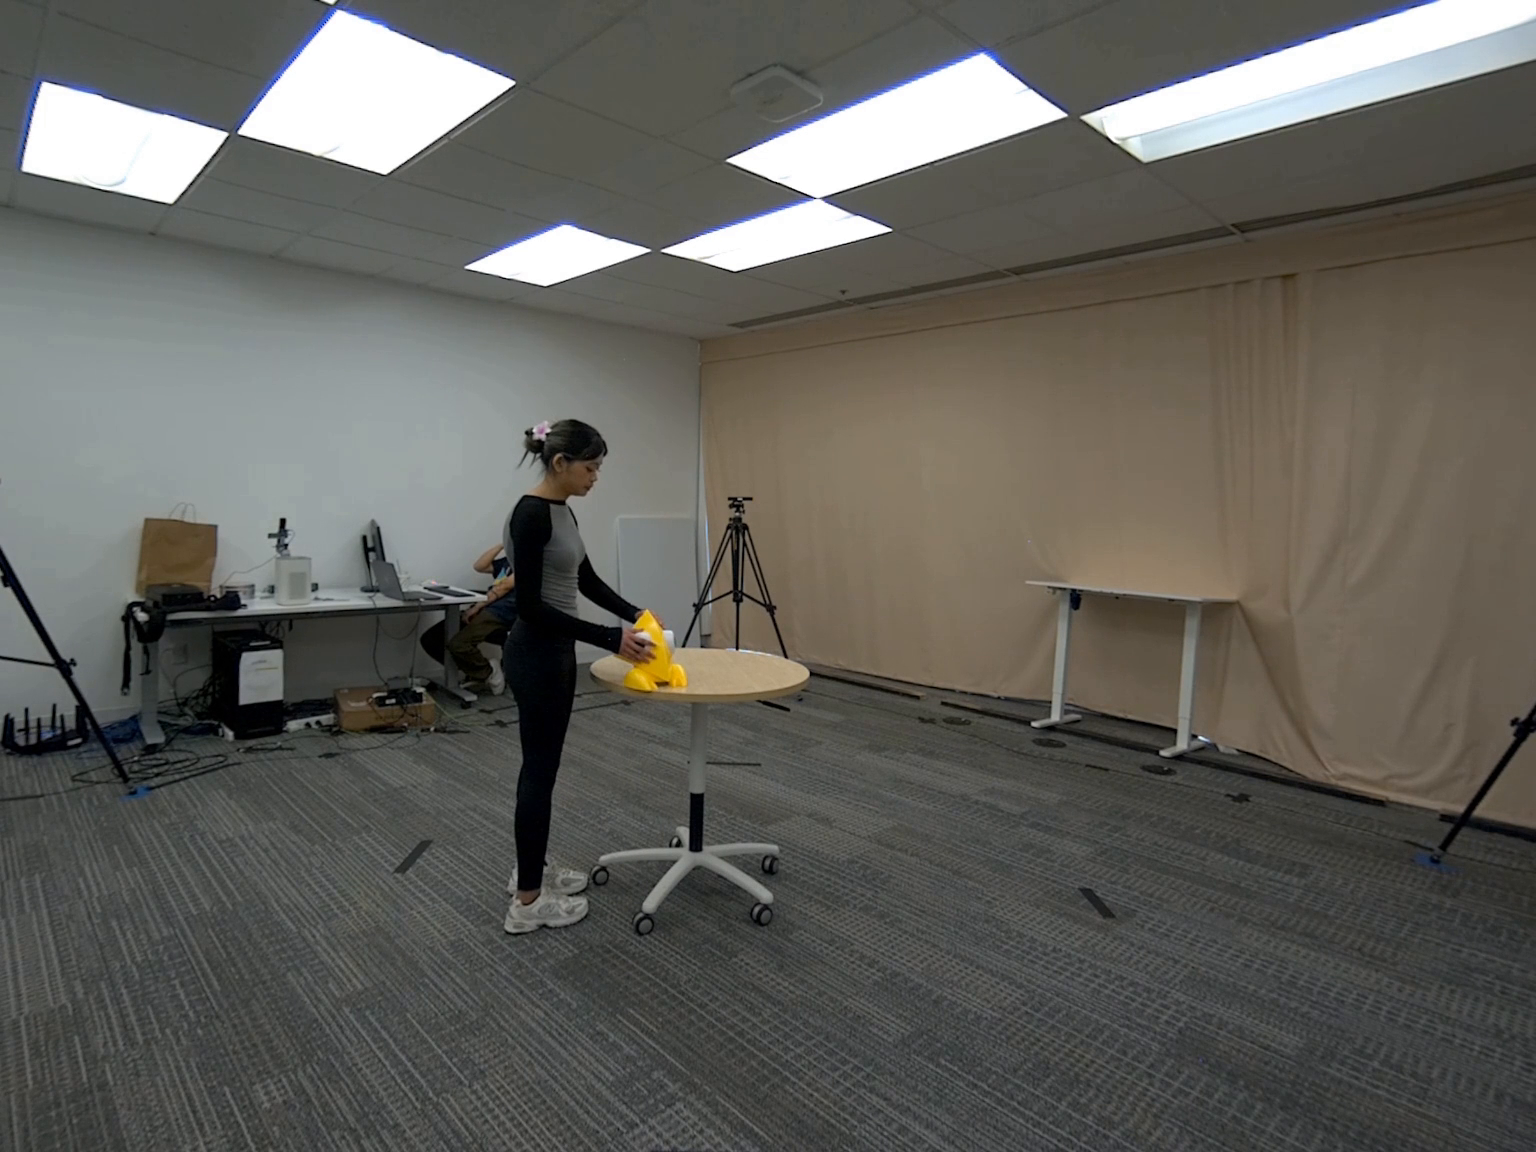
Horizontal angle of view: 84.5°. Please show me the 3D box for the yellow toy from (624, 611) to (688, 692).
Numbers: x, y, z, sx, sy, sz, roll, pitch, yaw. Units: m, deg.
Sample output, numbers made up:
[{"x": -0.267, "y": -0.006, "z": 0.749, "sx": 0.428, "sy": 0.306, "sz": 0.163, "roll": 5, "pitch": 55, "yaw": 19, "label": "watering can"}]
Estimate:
[{"x": -0.373, "y": 0.234, "z": 2.696, "sx": 0.200, "sy": 0.230, "sz": 0.198, "roll": -1, "pitch": 5, "yaw": -34, "label": "yellow toy"}]
